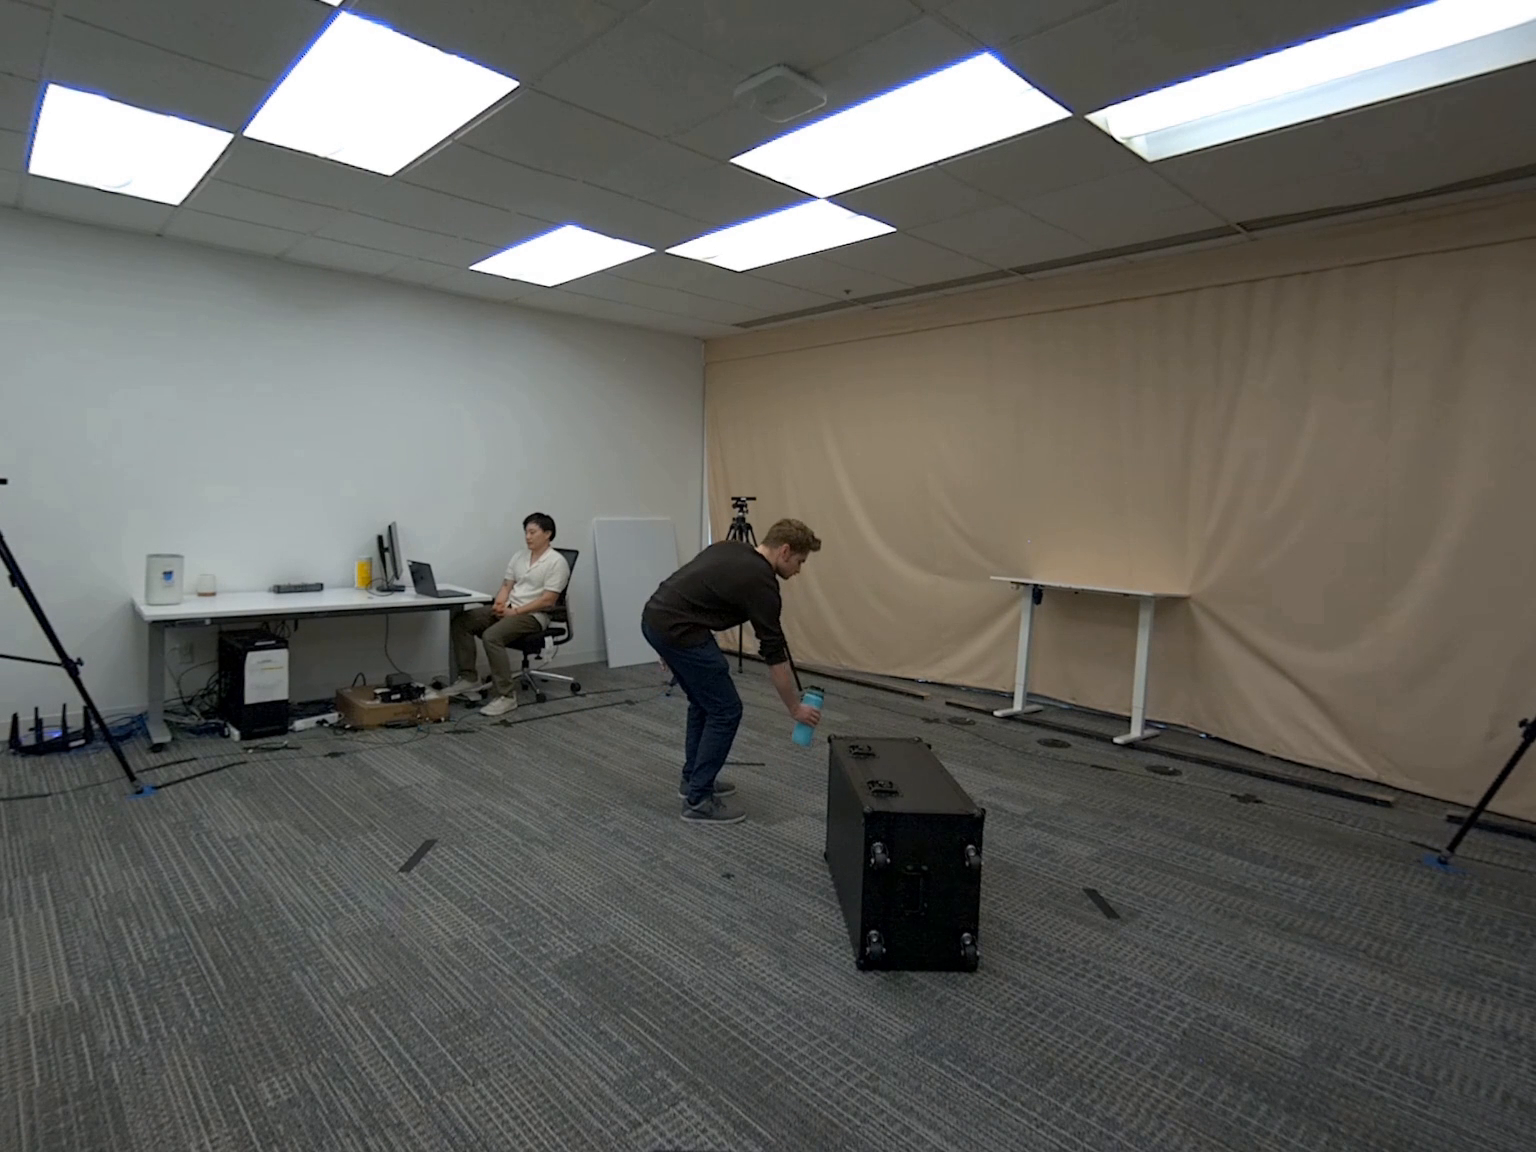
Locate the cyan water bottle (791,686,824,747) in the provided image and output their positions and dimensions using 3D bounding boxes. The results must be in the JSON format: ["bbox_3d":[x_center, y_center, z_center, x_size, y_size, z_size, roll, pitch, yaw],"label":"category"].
[{"bbox_3d":[0.176,0.634,3.871,0.092,0.284,0.092,20,-8,1],"label":"cyan water bottle"}]
